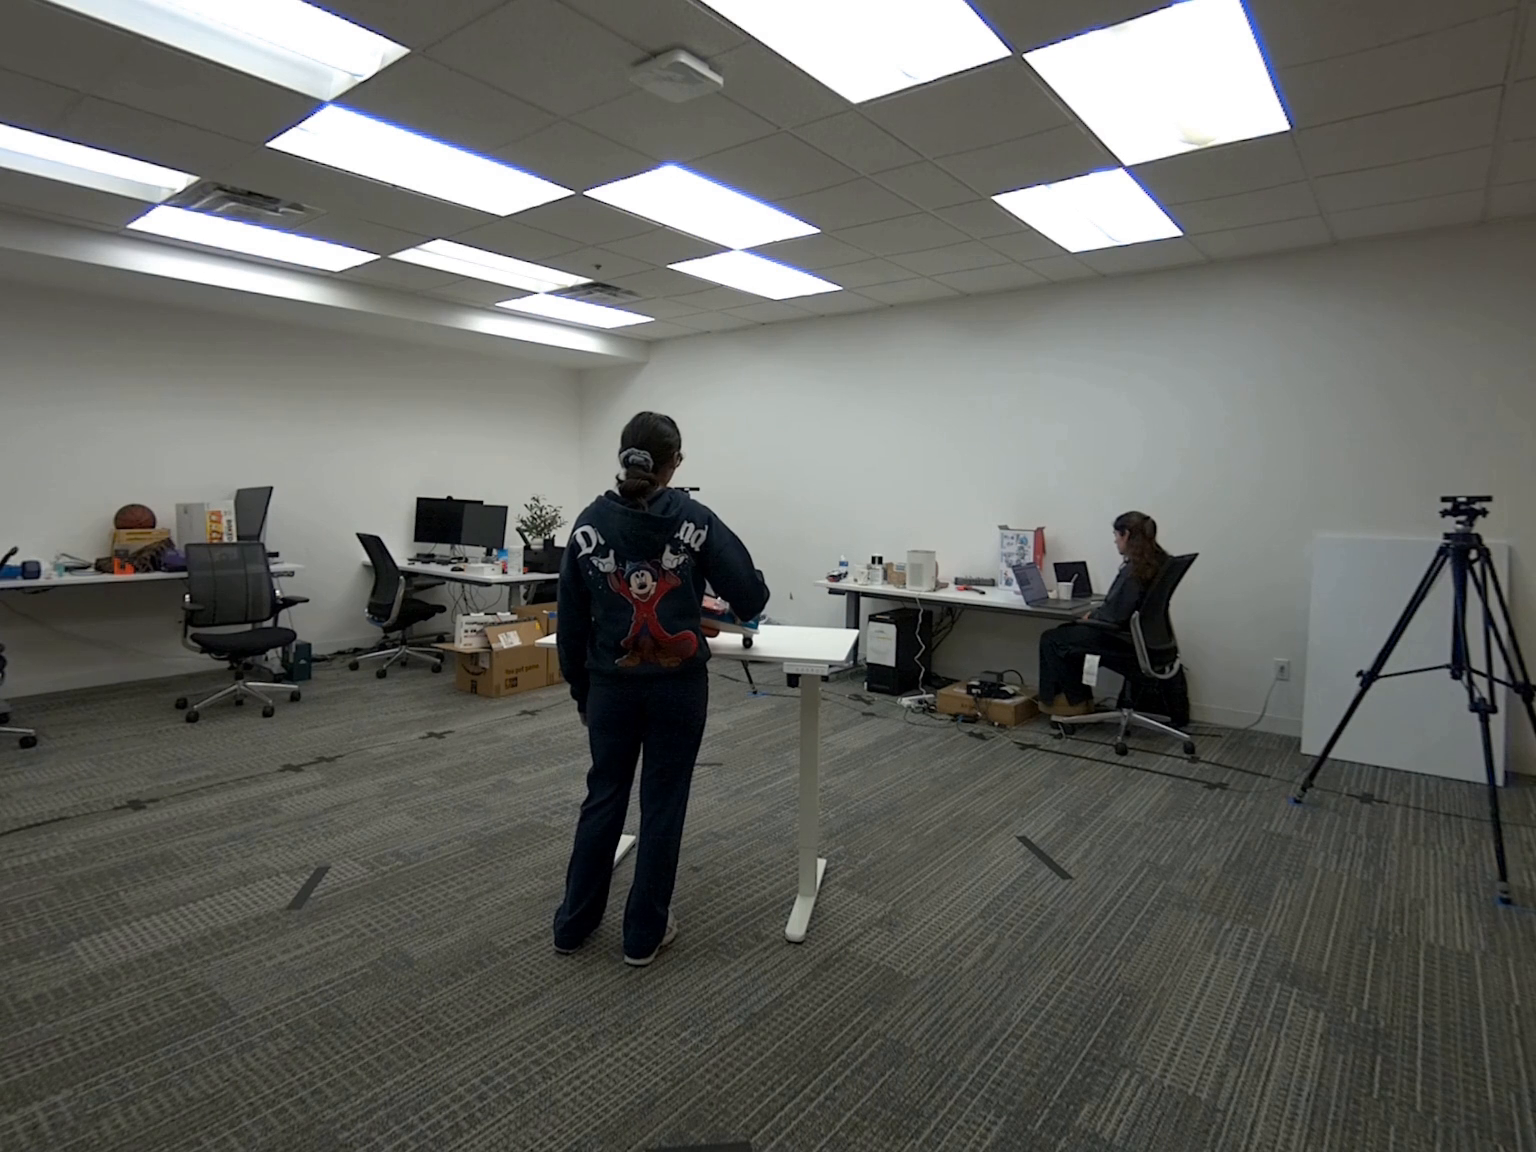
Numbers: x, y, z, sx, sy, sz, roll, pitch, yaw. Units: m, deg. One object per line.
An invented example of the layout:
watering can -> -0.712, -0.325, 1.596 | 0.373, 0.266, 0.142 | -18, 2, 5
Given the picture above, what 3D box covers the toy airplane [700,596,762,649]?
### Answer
toy airplane -> -0.157, 0.147, 2.739 | 0.252, 0.156, 0.259 | -2, 6, -32
